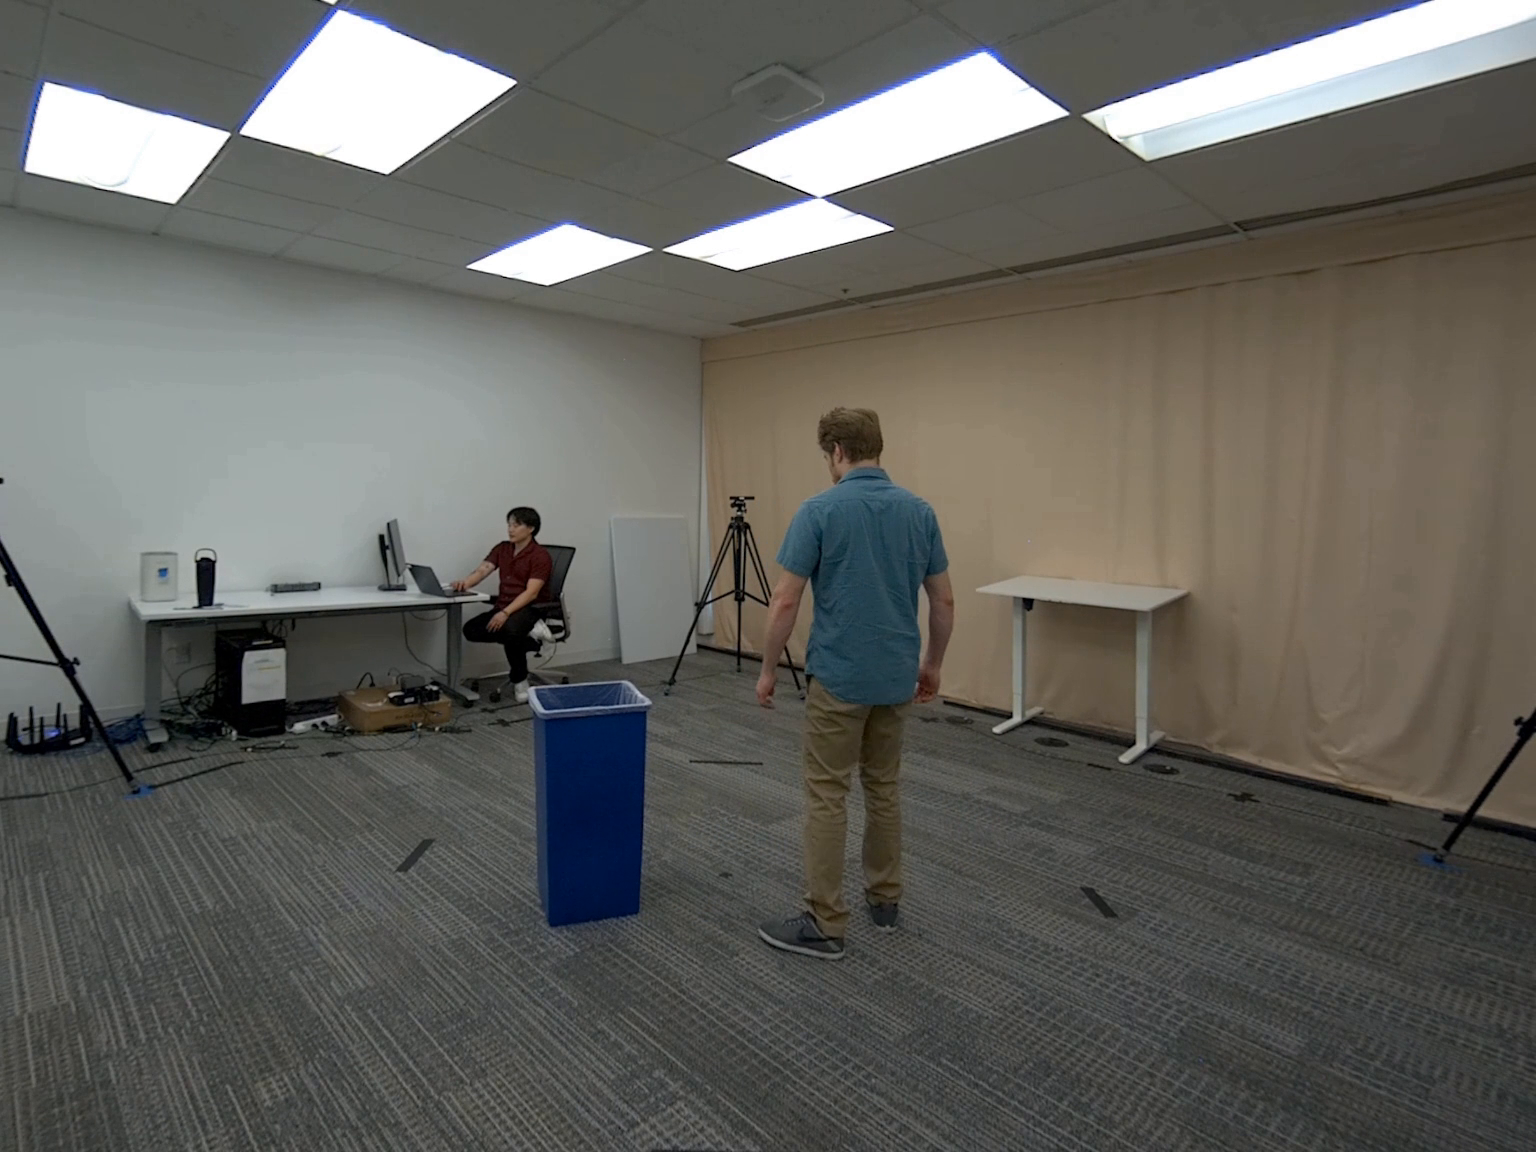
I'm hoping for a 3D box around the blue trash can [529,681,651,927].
[{"bbox_3d":[-0.624,0.757,2.869,0.368,0.712,0.385,0,4,-21],"label":"blue trash can"}]
